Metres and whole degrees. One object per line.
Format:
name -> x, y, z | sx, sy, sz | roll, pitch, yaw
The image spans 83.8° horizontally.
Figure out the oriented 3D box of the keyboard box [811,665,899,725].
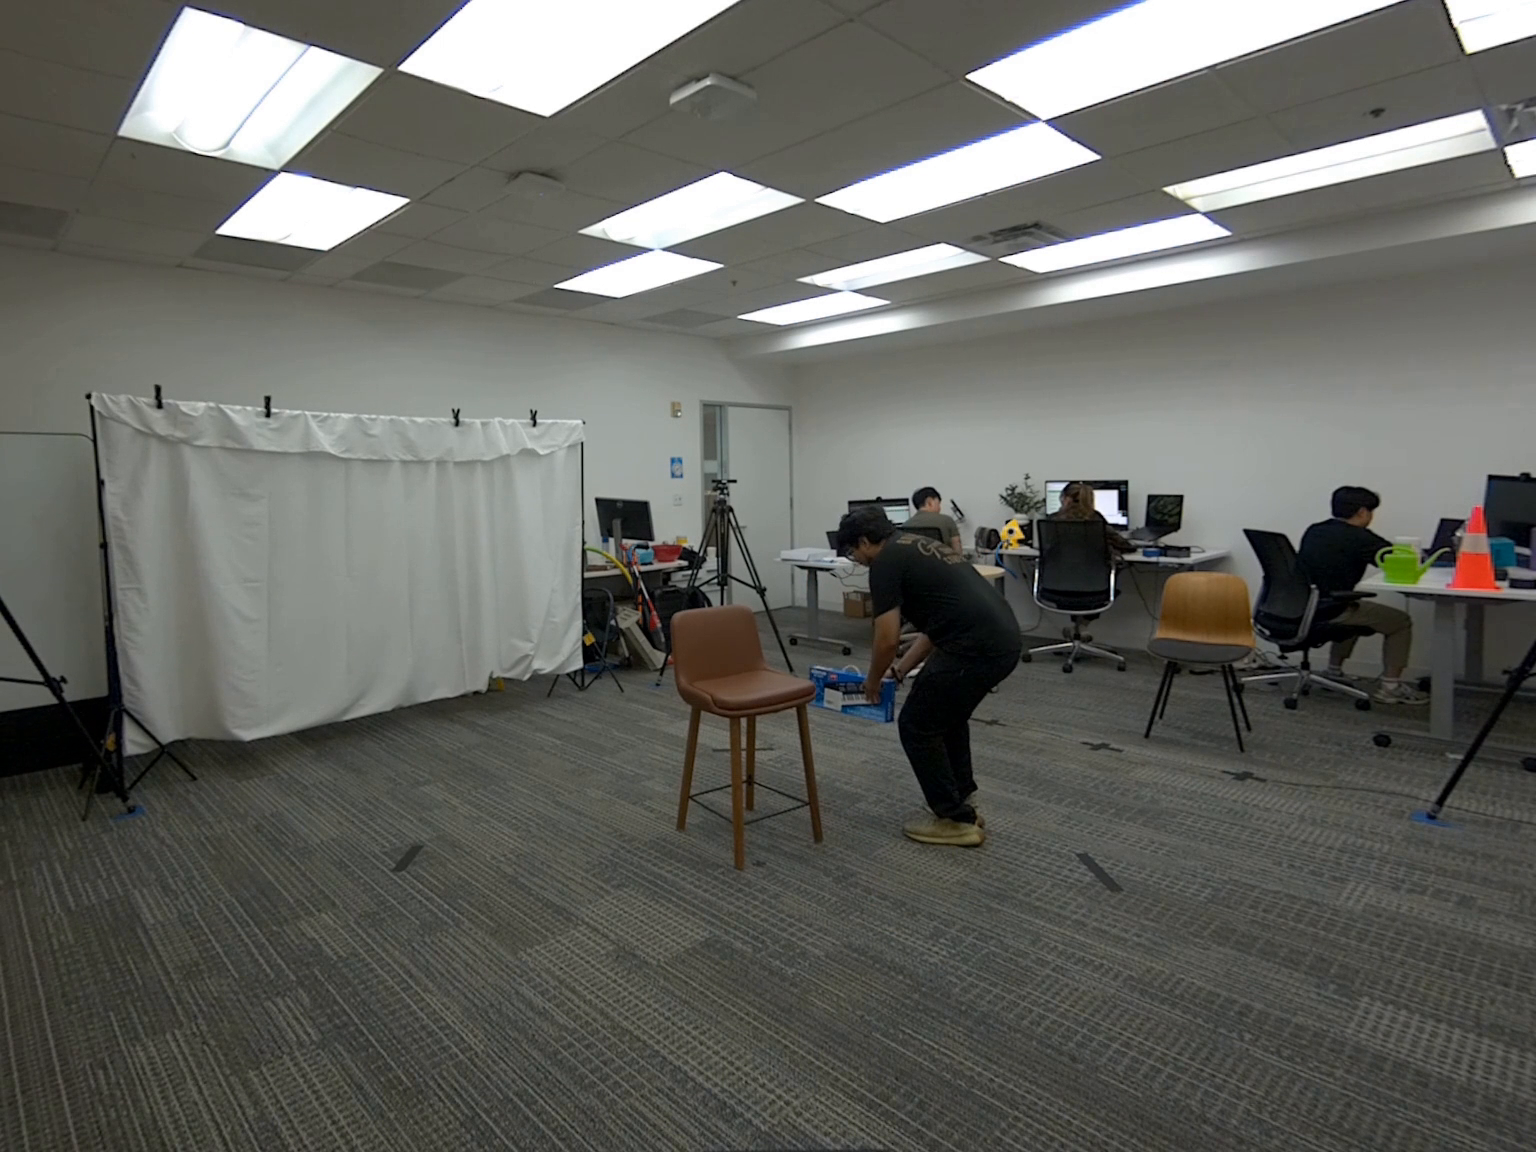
keyboard box -> 0.365, 0.505, 3.688 | 0.057, 0.176, 0.450 | 2, 2, -41
